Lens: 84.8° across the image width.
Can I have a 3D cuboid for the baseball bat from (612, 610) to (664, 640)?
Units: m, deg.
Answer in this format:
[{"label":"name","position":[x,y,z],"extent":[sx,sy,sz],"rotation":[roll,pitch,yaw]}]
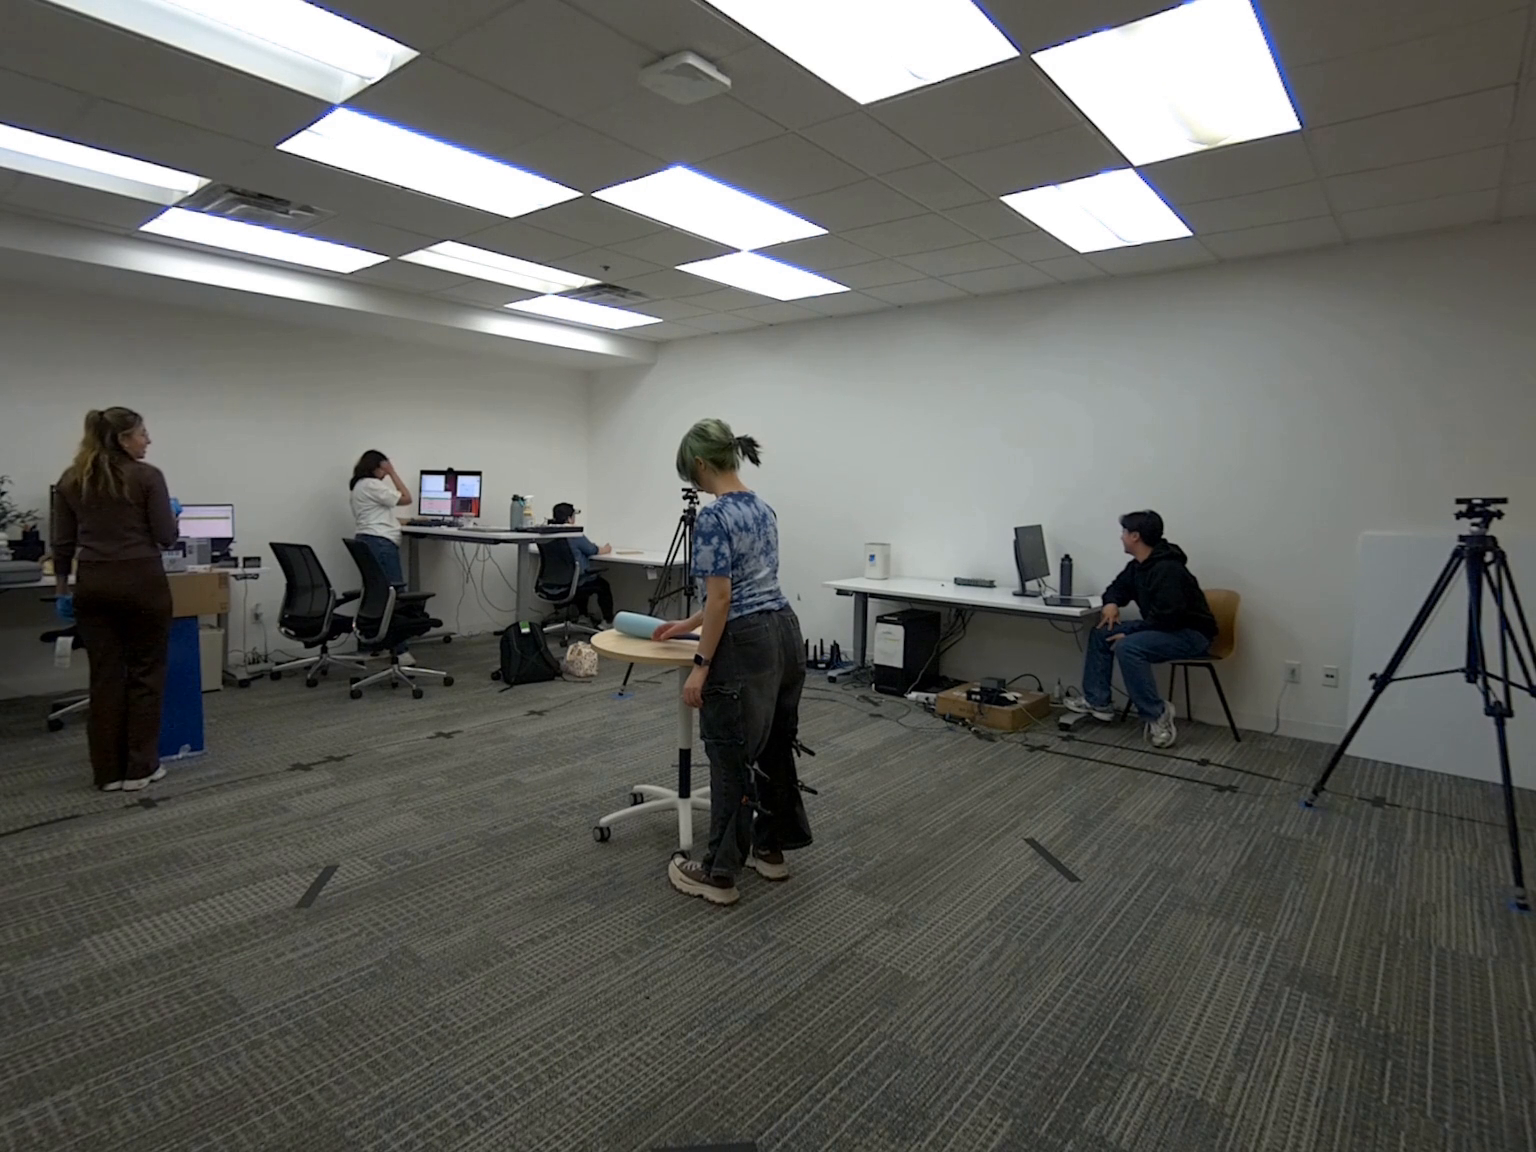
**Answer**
[{"label":"baseball bat","position":[-0.394,0.222,3.352],"extent":[0.561,0.088,0.086],"rotation":[8,7,34]}]
